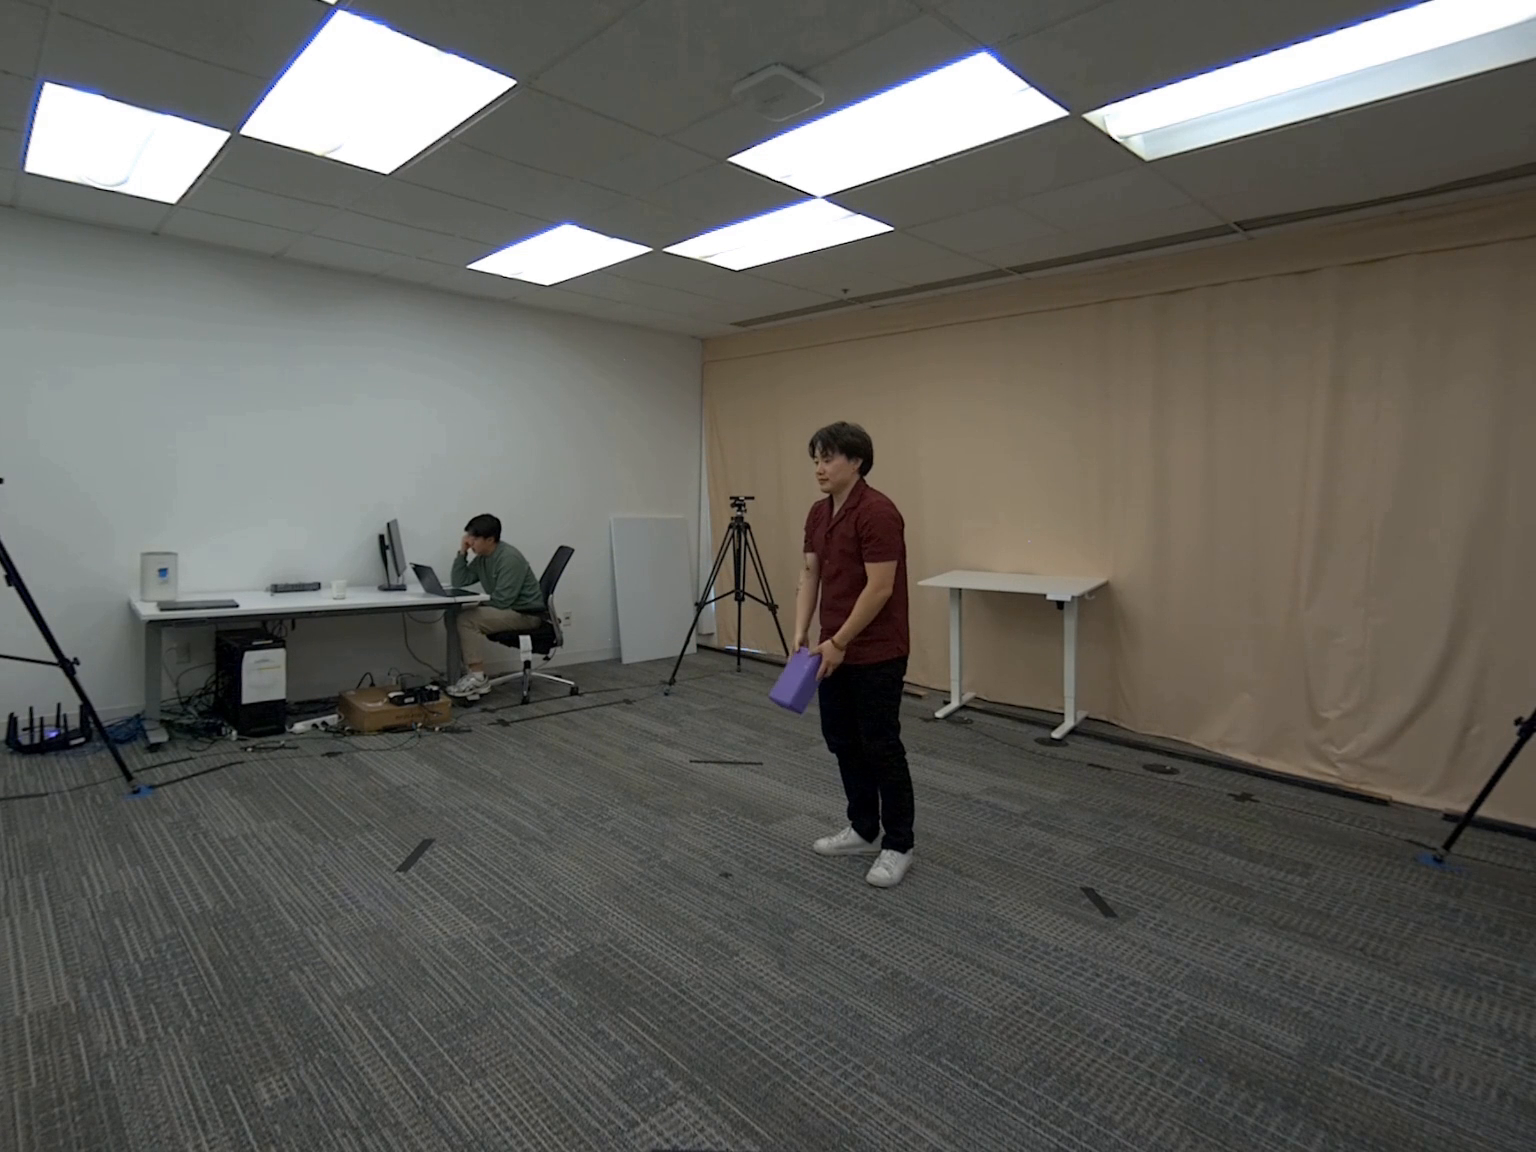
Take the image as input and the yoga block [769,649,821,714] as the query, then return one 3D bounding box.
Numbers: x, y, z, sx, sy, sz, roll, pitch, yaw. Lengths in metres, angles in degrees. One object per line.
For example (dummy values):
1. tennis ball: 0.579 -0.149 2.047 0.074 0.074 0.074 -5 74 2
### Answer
1. yoga block: 0.102 0.367 3.073 0.074 0.230 0.152 37 -16 -27
